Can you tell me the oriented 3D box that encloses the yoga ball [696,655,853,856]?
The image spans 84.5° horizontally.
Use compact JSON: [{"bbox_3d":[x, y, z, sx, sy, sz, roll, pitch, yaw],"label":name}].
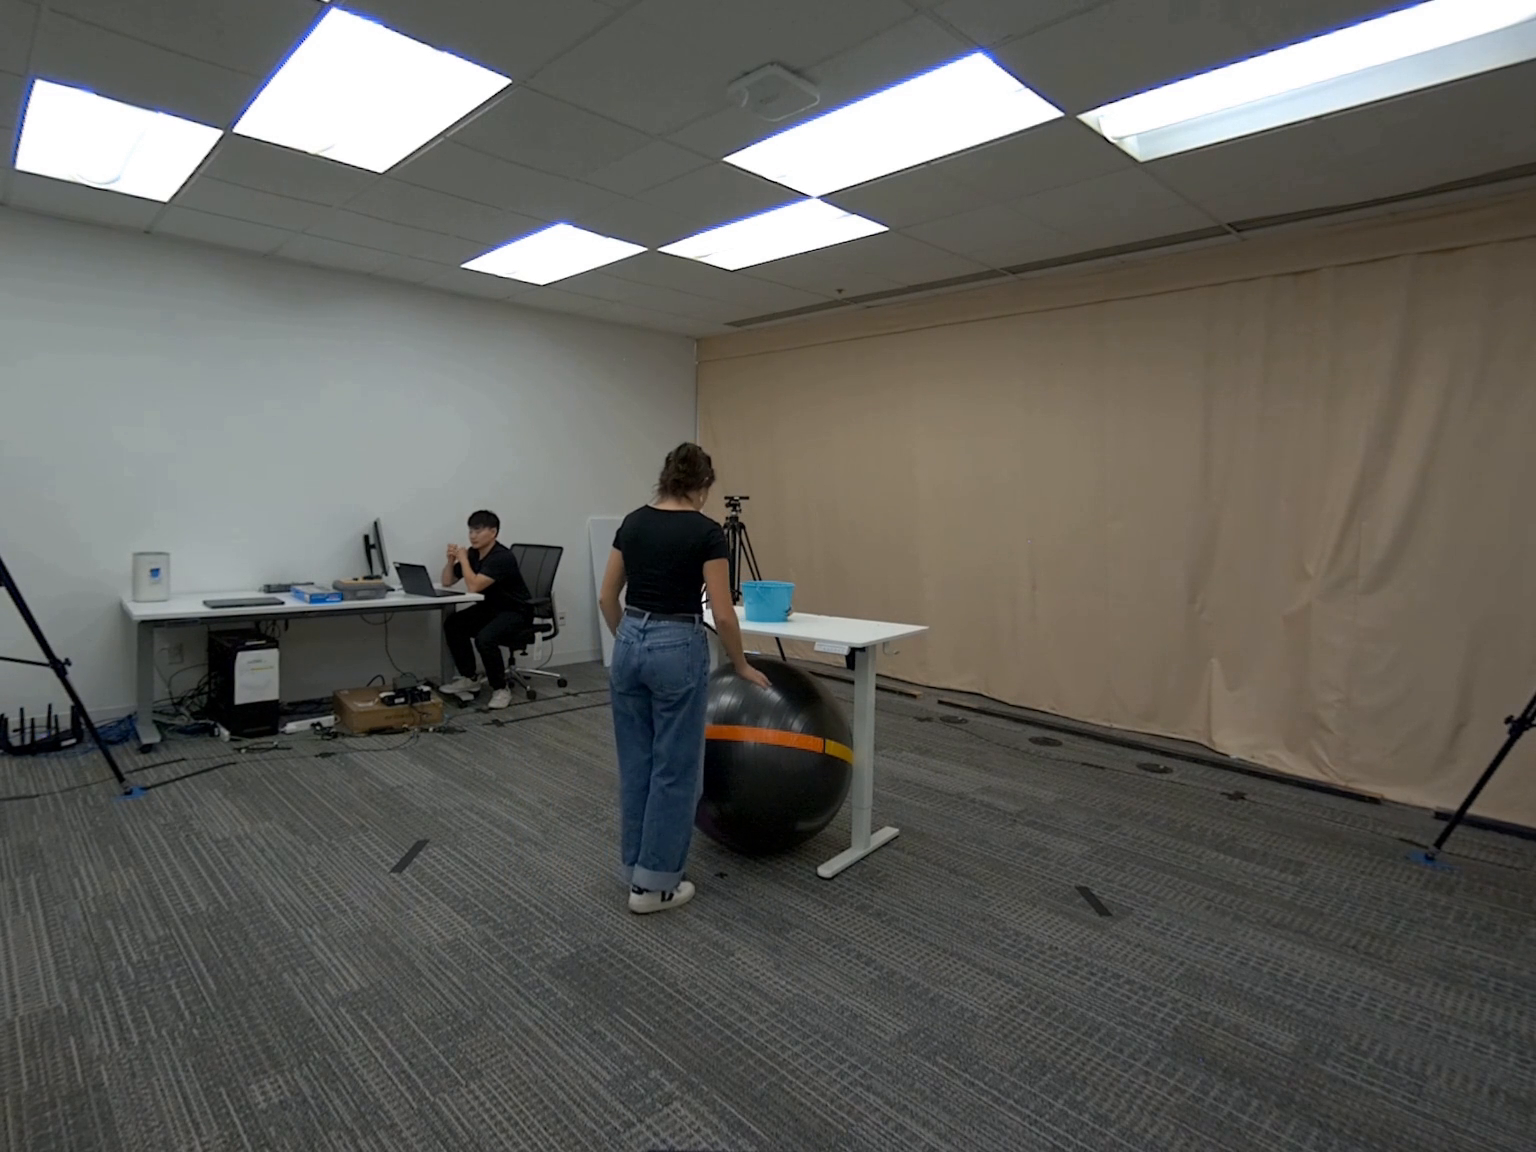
[{"bbox_3d":[-0.032,0.721,3.385,0.757,0.756,0.761,1,4,-1],"label":"yoga ball"}]
